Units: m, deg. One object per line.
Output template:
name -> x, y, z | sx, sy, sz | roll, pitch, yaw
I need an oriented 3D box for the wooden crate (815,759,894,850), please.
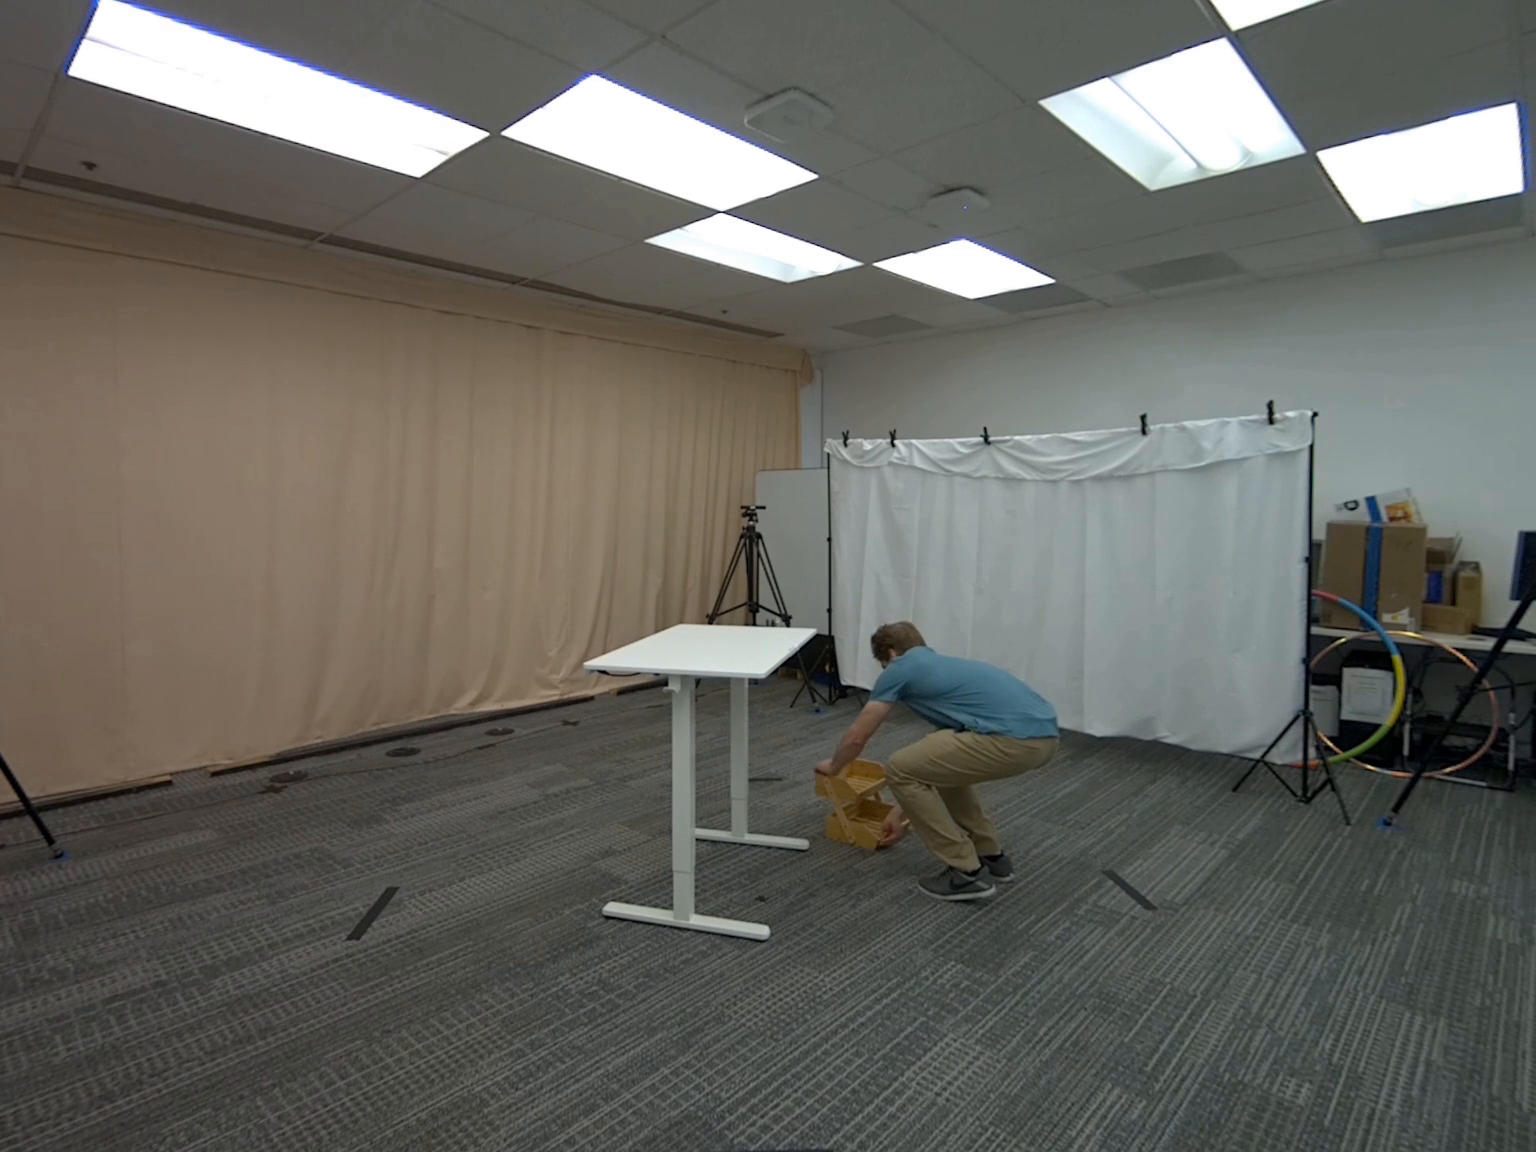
wooden crate -> 0.412, 0.959, 3.592 | 0.312, 0.273, 0.315 | 2, 5, 37
